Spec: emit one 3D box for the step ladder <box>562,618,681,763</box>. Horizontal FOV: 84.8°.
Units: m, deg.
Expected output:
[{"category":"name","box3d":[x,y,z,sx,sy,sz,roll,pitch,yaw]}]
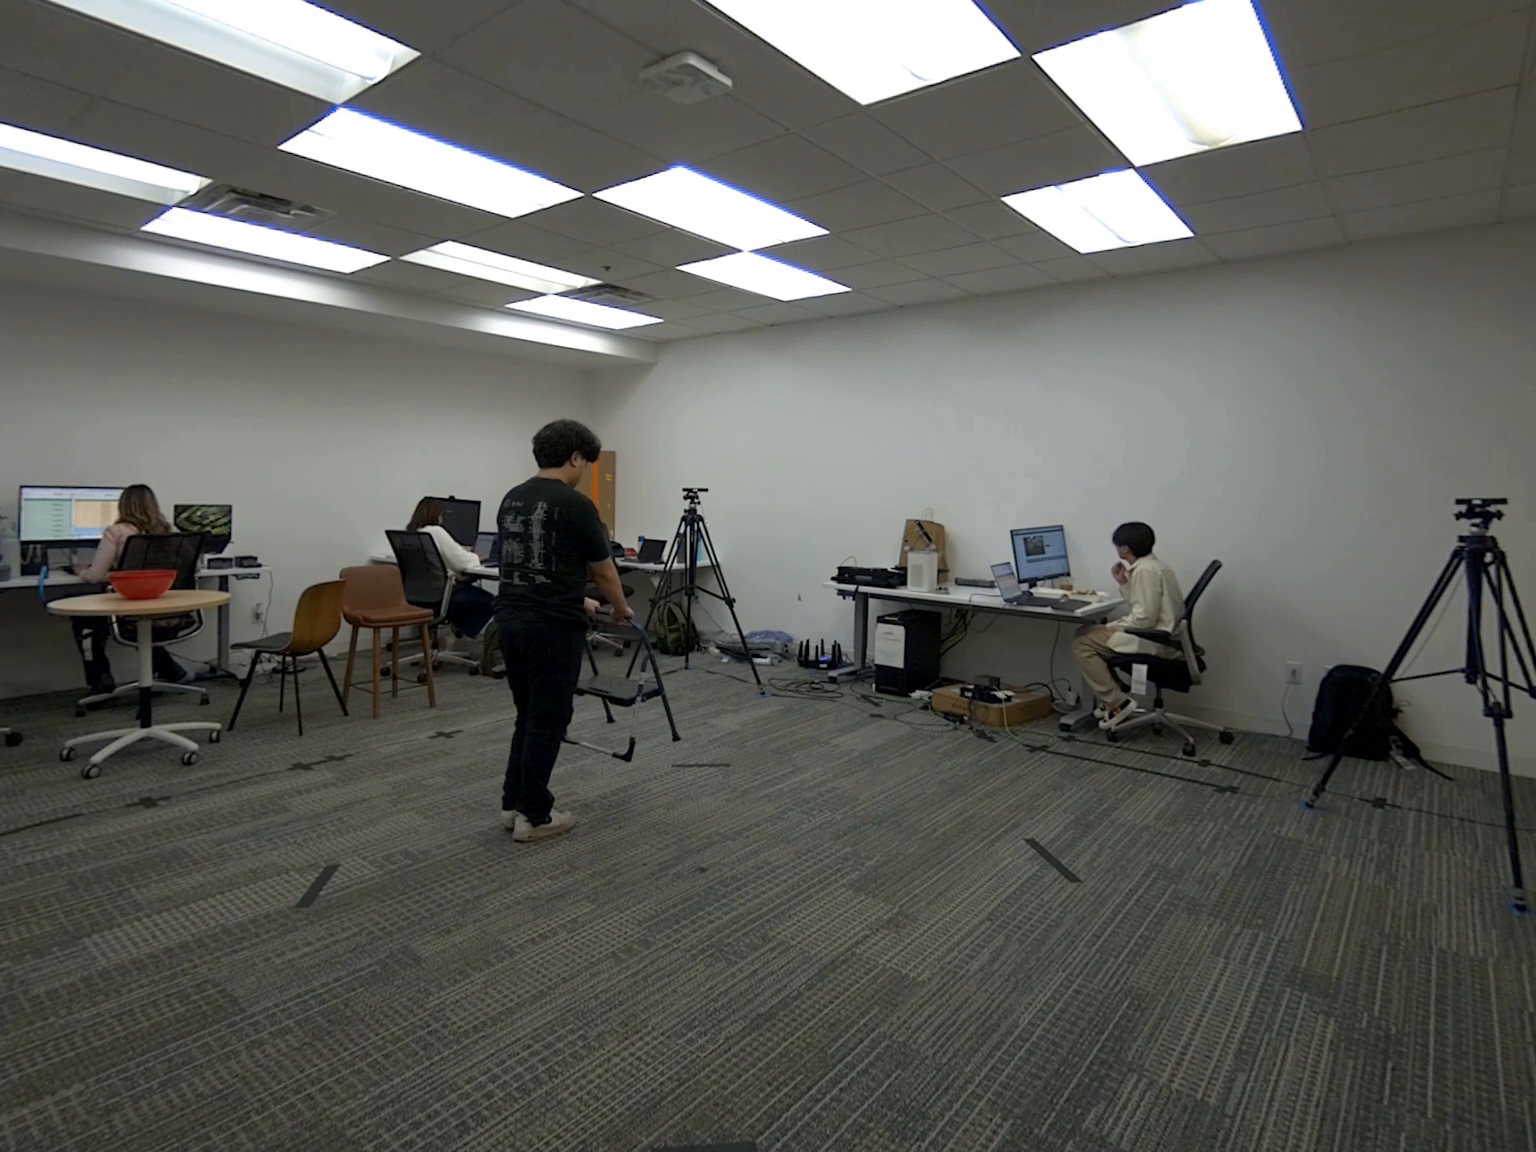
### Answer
[{"category":"step ladder","box3d":[-0.673,0.440,3.744,0.444,0.602,0.340,5,8,33]}]
